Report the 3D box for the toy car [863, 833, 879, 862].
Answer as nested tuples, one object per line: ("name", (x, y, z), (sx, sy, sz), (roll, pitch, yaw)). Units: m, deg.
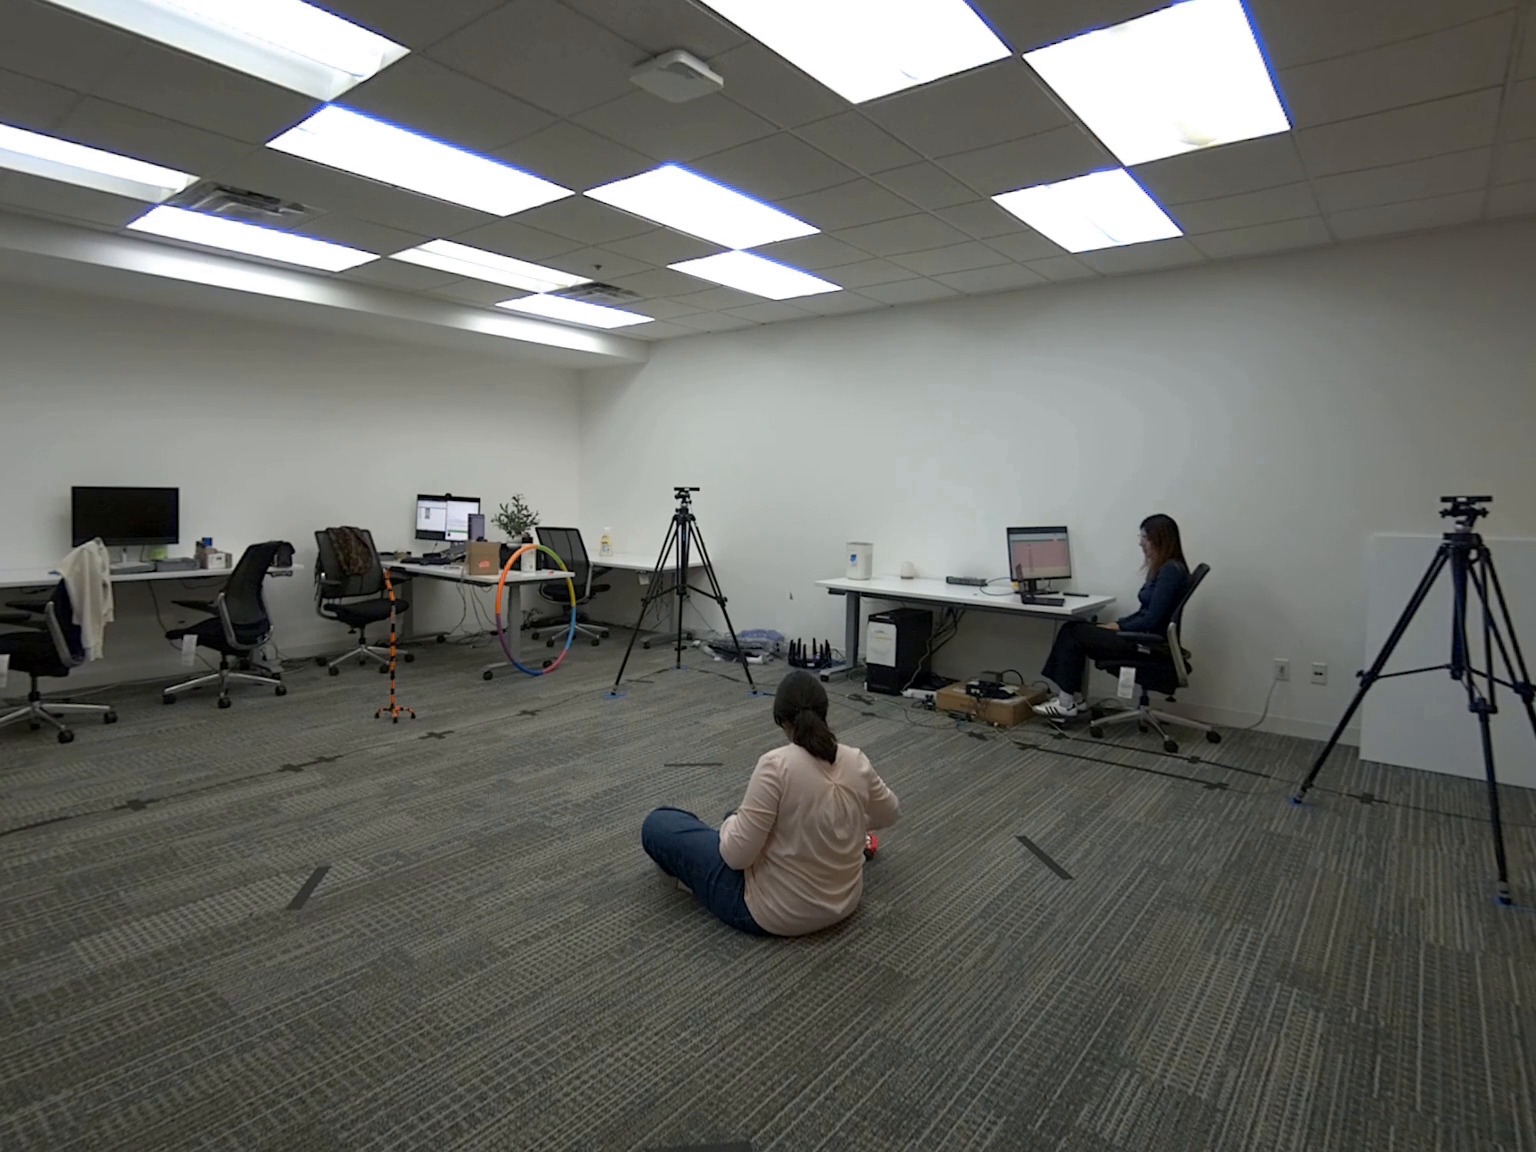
("toy car", (0.286, 1.013, 3.272), (0.258, 0.082, 0.130), (15, 15, 9))
